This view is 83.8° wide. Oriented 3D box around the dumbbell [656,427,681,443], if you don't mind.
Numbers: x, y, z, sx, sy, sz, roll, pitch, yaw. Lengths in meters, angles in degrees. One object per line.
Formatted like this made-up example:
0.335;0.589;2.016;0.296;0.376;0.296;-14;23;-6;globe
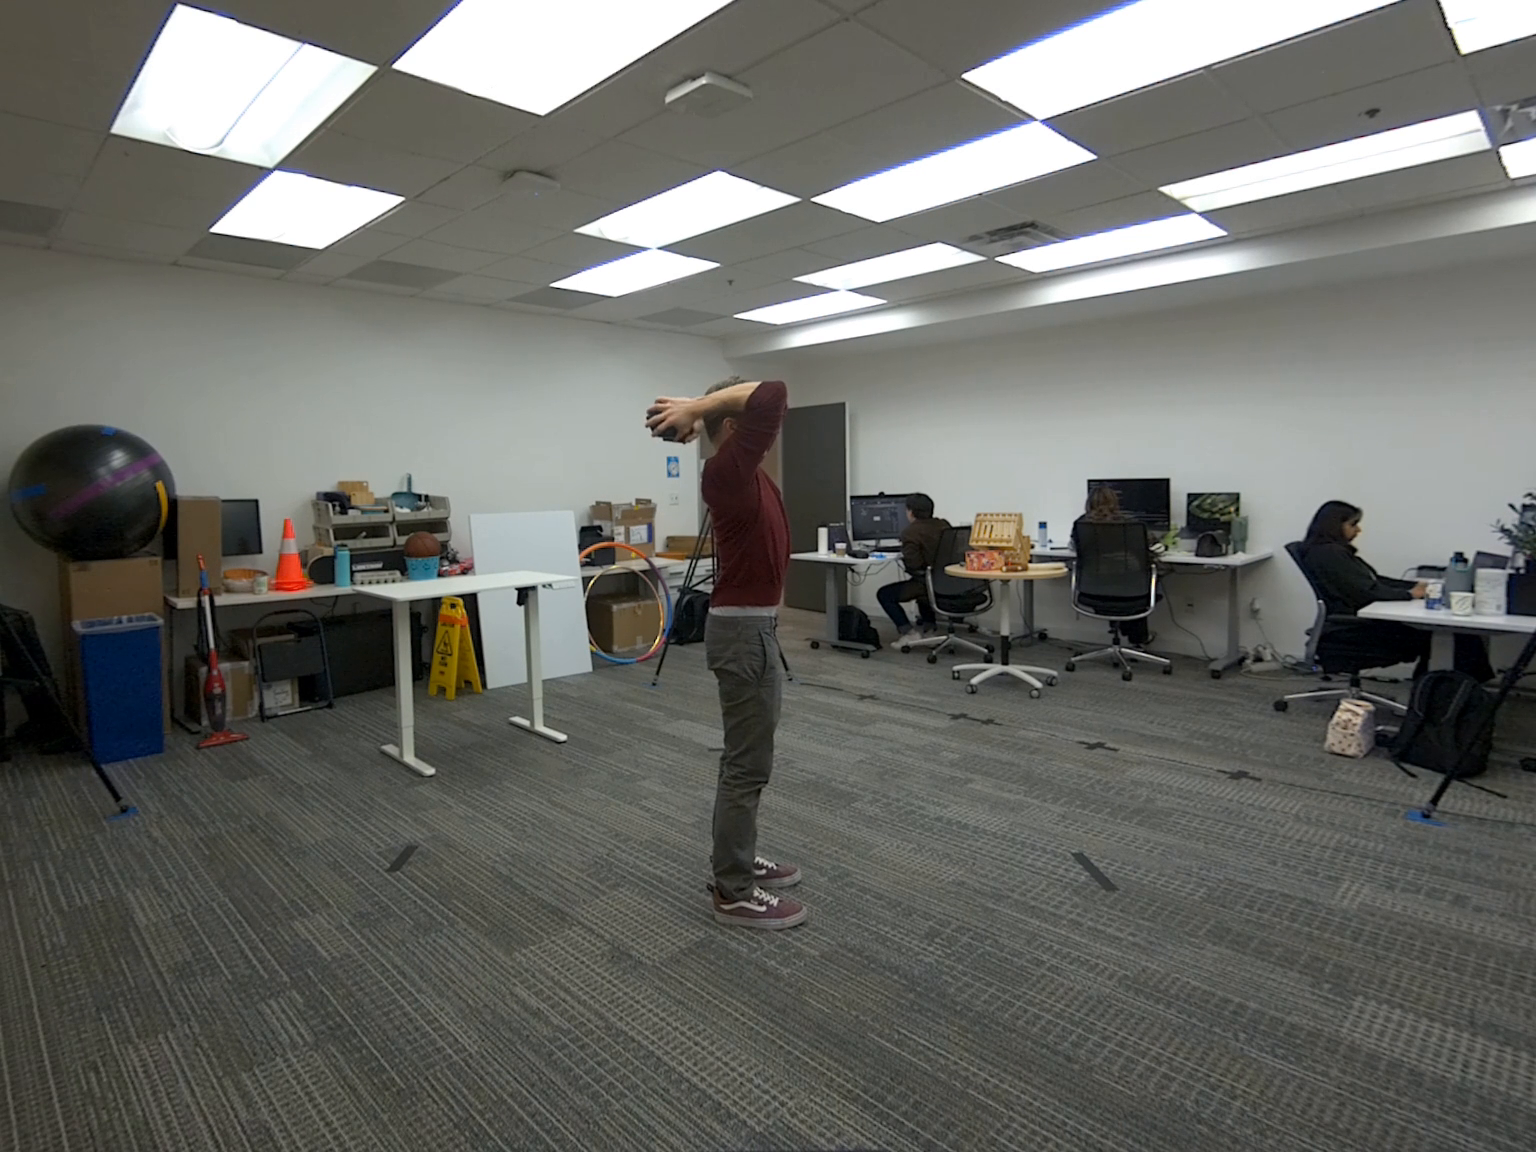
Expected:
-0.290;-0.529;2.775;0.109;0.123;0.291;-21;2;13;dumbbell
